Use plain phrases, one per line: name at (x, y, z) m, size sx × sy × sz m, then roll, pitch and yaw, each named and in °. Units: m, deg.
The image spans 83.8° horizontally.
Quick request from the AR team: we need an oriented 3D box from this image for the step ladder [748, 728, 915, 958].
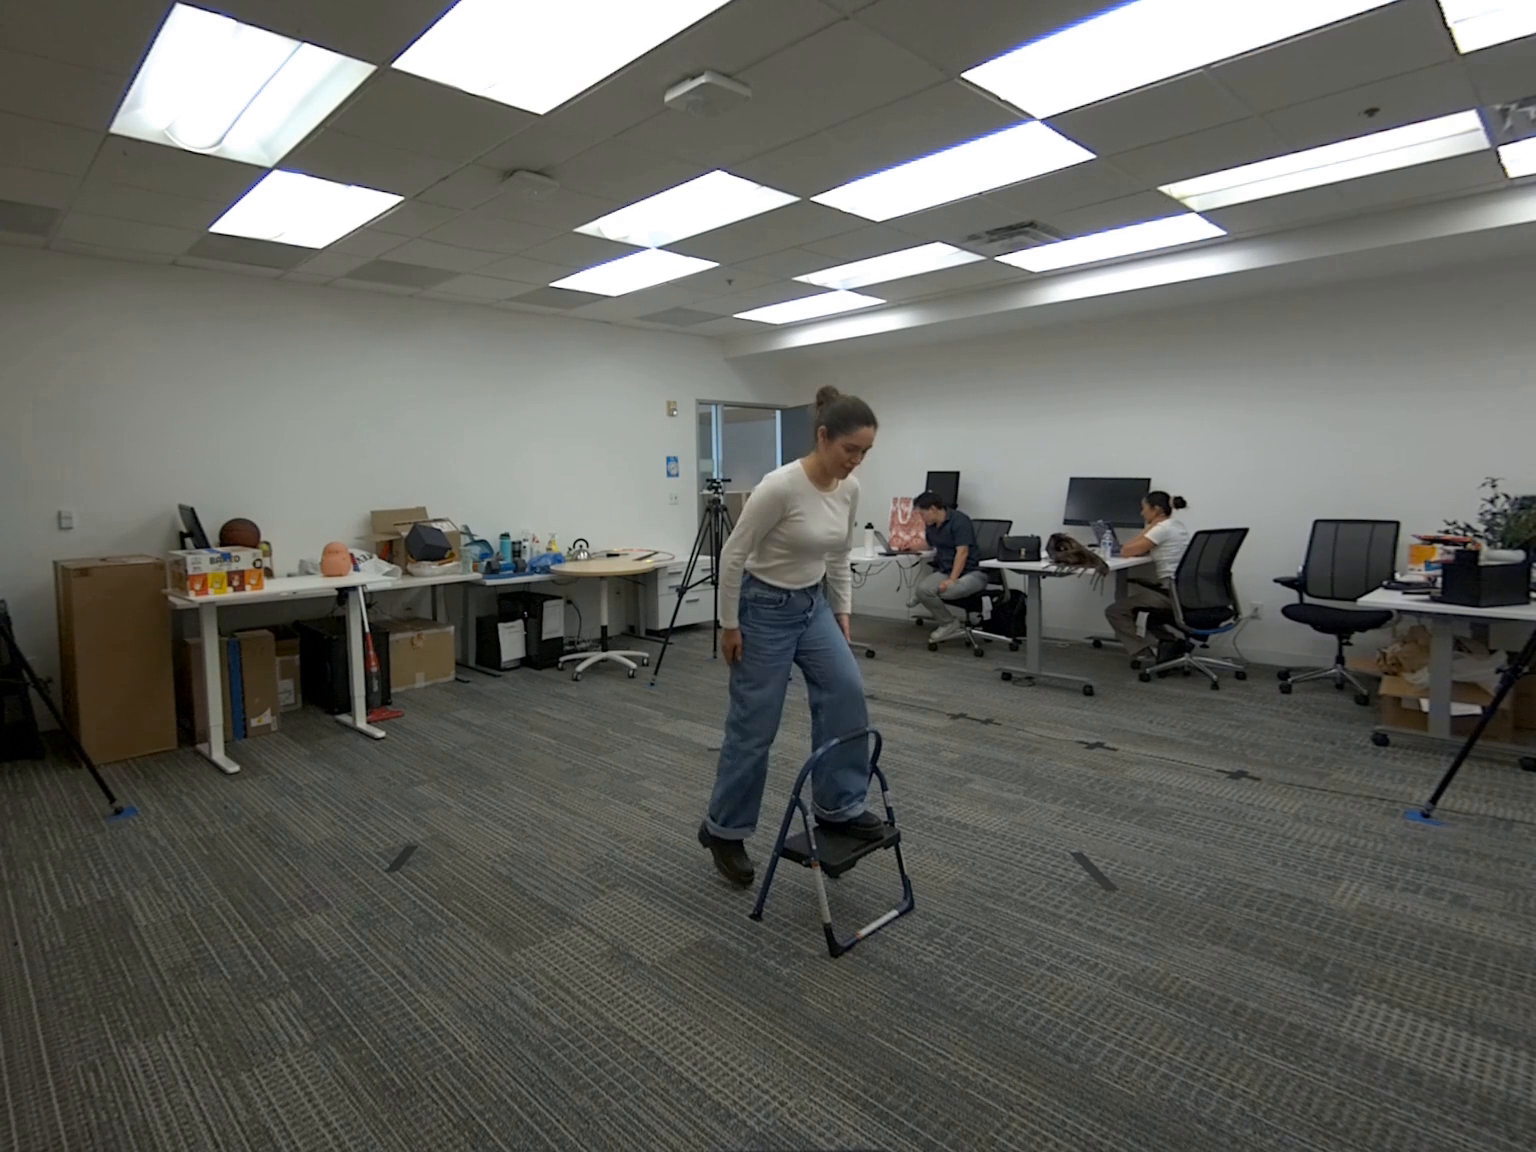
step ladder at (0.206, 0.782, 2.724) m, size 0.360 × 0.604 × 0.419 m, roll 2°, pitch 6°, yaw 44°
